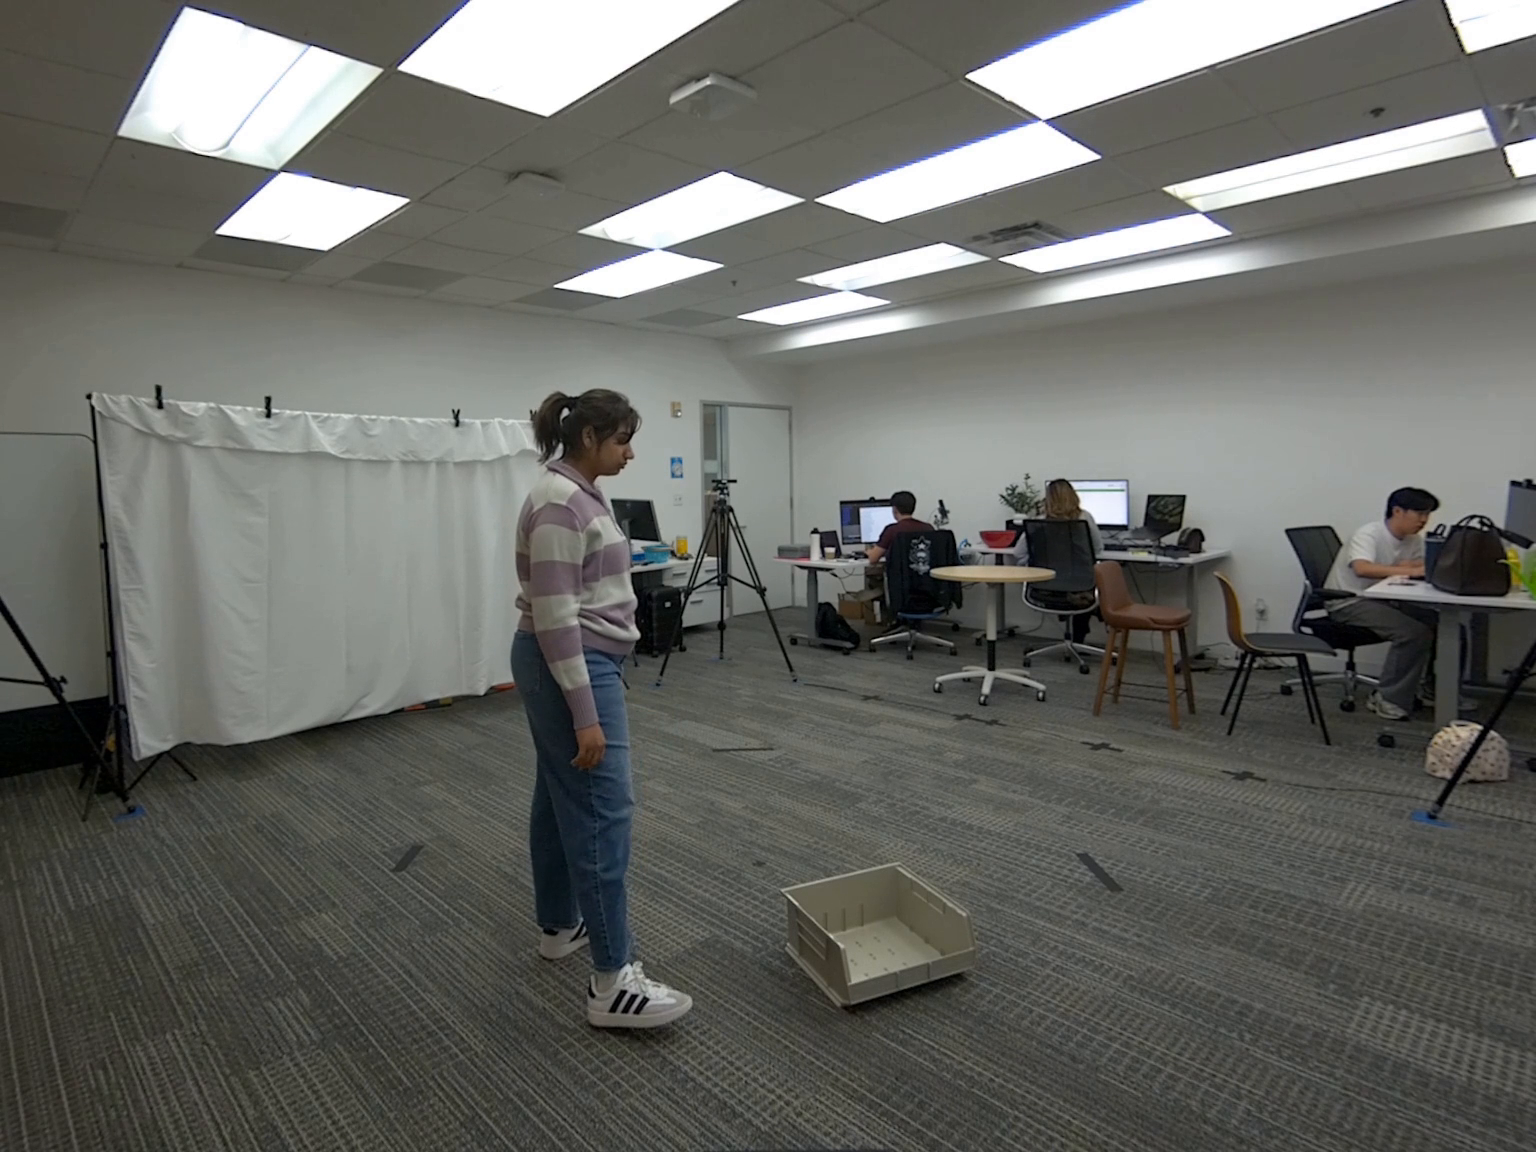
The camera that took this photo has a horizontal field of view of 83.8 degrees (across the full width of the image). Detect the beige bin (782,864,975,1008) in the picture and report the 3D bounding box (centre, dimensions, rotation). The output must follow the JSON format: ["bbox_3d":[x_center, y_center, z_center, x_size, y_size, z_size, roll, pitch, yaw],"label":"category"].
[{"bbox_3d":[0.317,1.030,2.452,0.414,0.188,0.386,-4,6,-25],"label":"beige bin"}]
